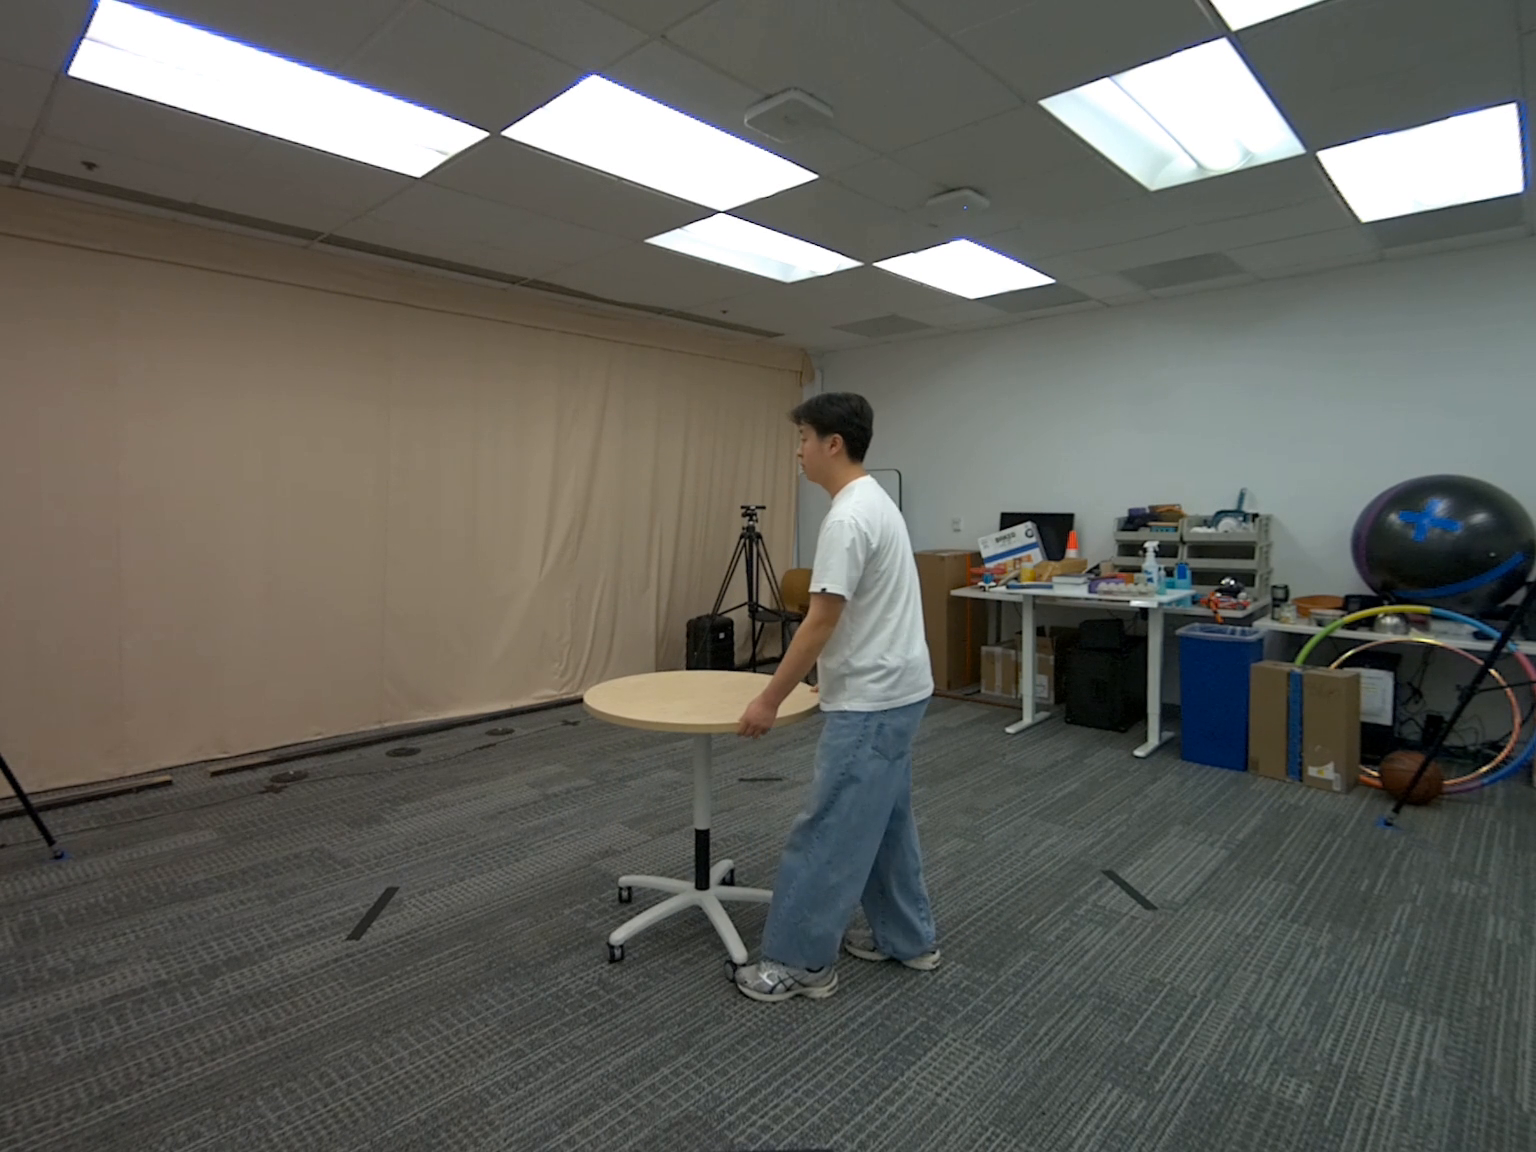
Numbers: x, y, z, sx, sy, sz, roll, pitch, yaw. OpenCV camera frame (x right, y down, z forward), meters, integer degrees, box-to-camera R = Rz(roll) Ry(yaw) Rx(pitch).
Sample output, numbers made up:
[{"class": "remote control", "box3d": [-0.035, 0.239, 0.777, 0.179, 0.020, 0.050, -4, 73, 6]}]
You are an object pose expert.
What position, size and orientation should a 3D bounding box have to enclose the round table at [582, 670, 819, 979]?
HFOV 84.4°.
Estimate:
[{"class": "round table", "box3d": [-0.215, 0.774, 2.762, 0.763, 0.792, 0.767, 0, 4, -2]}]
